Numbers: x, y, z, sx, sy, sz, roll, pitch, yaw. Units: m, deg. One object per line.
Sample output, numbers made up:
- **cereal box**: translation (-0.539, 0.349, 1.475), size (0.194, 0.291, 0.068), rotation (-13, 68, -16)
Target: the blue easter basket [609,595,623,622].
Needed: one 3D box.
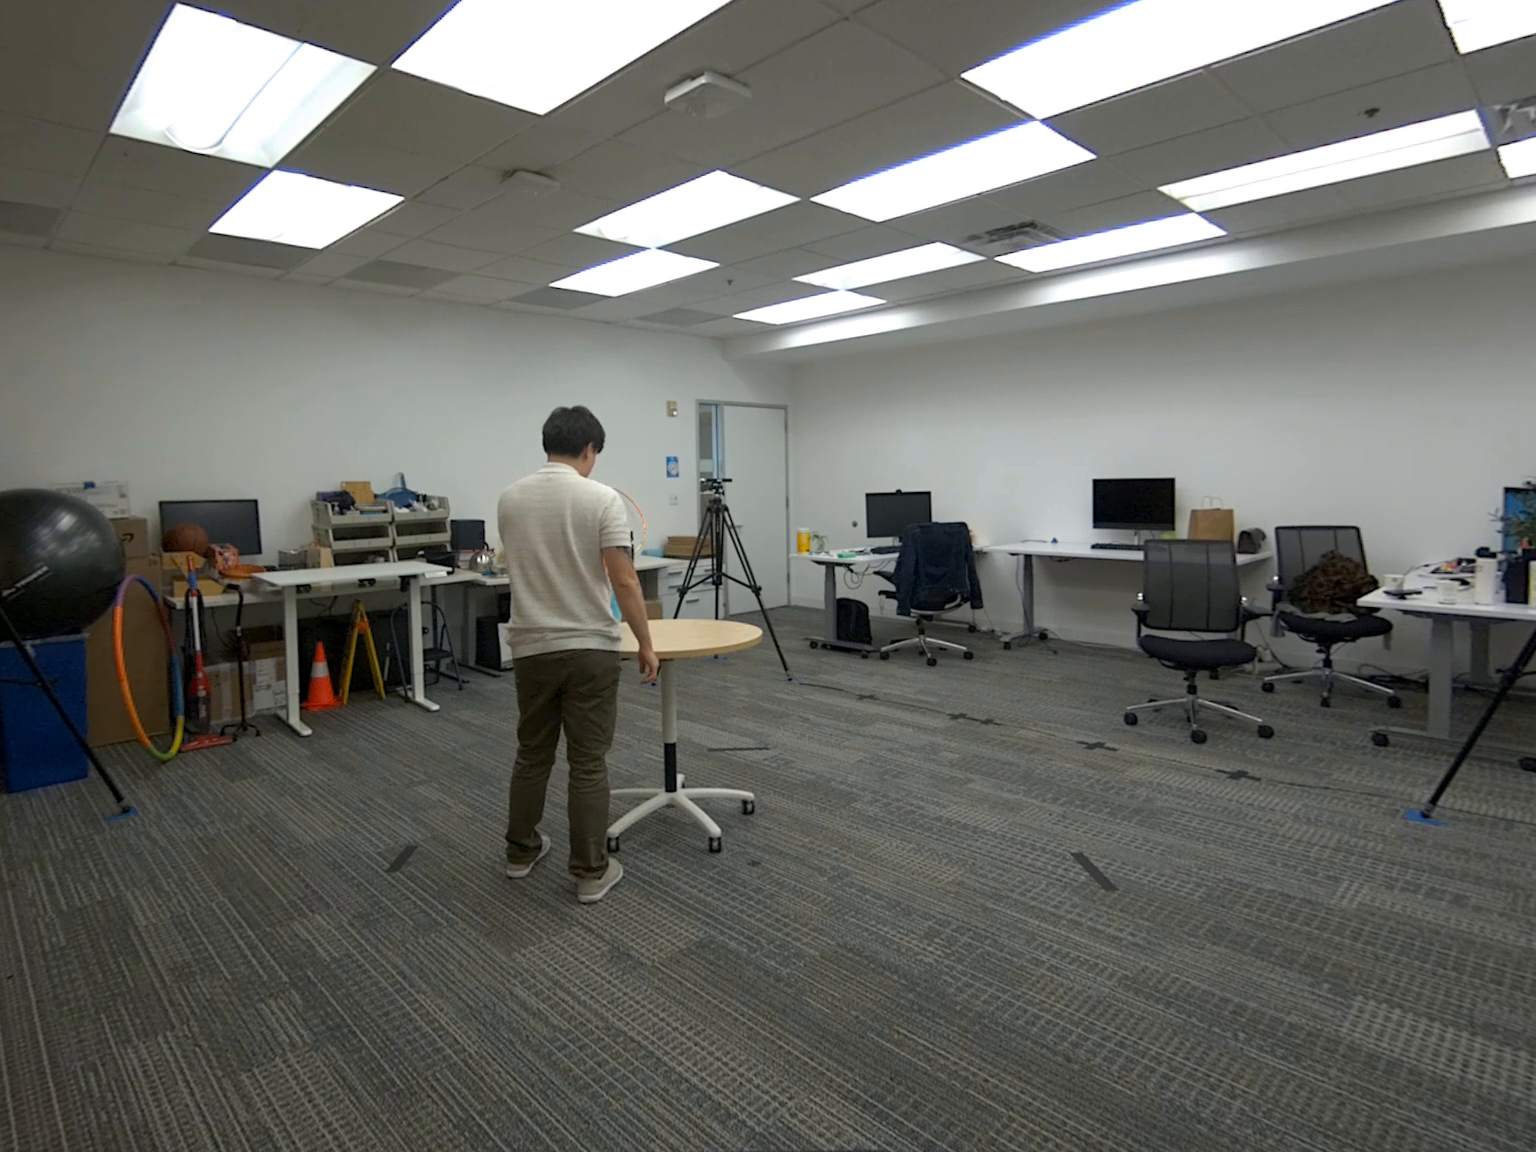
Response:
- **blue easter basket**: translation (-0.688, 0.117, 3.467), size (0.243, 0.155, 0.245), rotation (-1, 5, -2)
